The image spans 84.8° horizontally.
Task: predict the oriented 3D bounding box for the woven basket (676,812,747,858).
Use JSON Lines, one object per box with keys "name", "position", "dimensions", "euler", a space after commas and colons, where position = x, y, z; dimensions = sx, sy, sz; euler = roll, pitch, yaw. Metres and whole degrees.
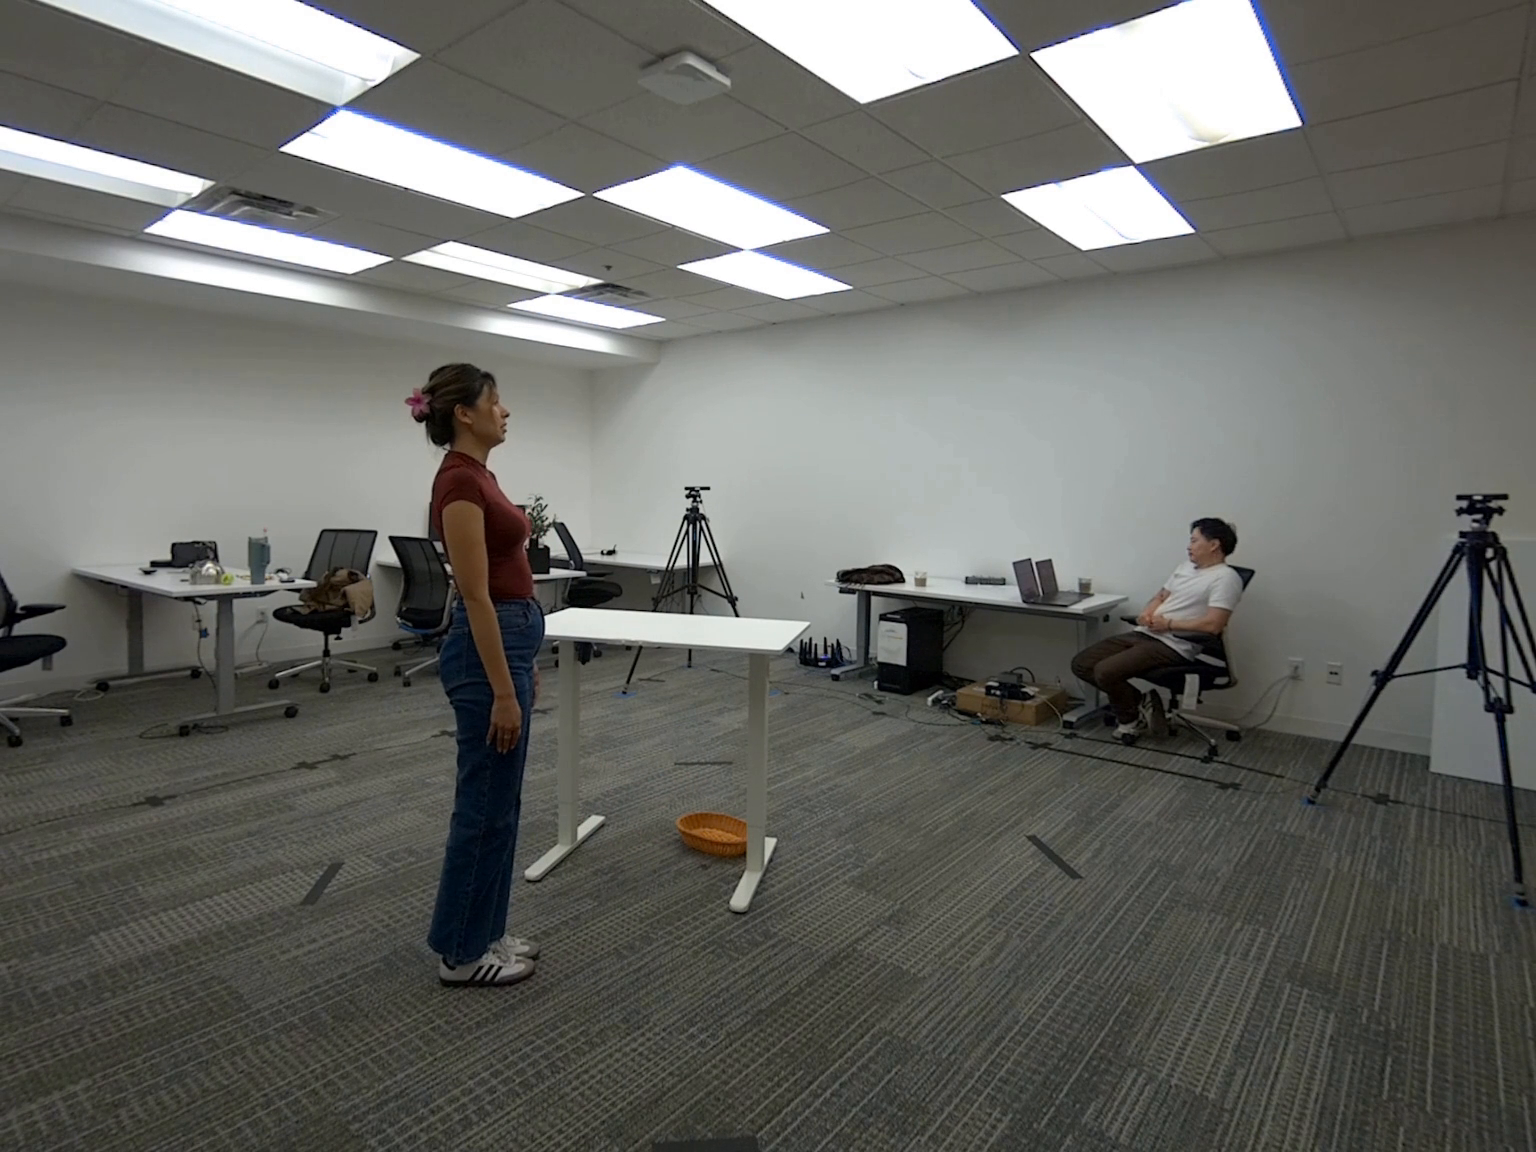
{"name": "woven basket", "position": [-0.218, 1.003, 3.316], "dimensions": [0.362, 0.073, 0.245], "euler": [5, 6, 37]}
